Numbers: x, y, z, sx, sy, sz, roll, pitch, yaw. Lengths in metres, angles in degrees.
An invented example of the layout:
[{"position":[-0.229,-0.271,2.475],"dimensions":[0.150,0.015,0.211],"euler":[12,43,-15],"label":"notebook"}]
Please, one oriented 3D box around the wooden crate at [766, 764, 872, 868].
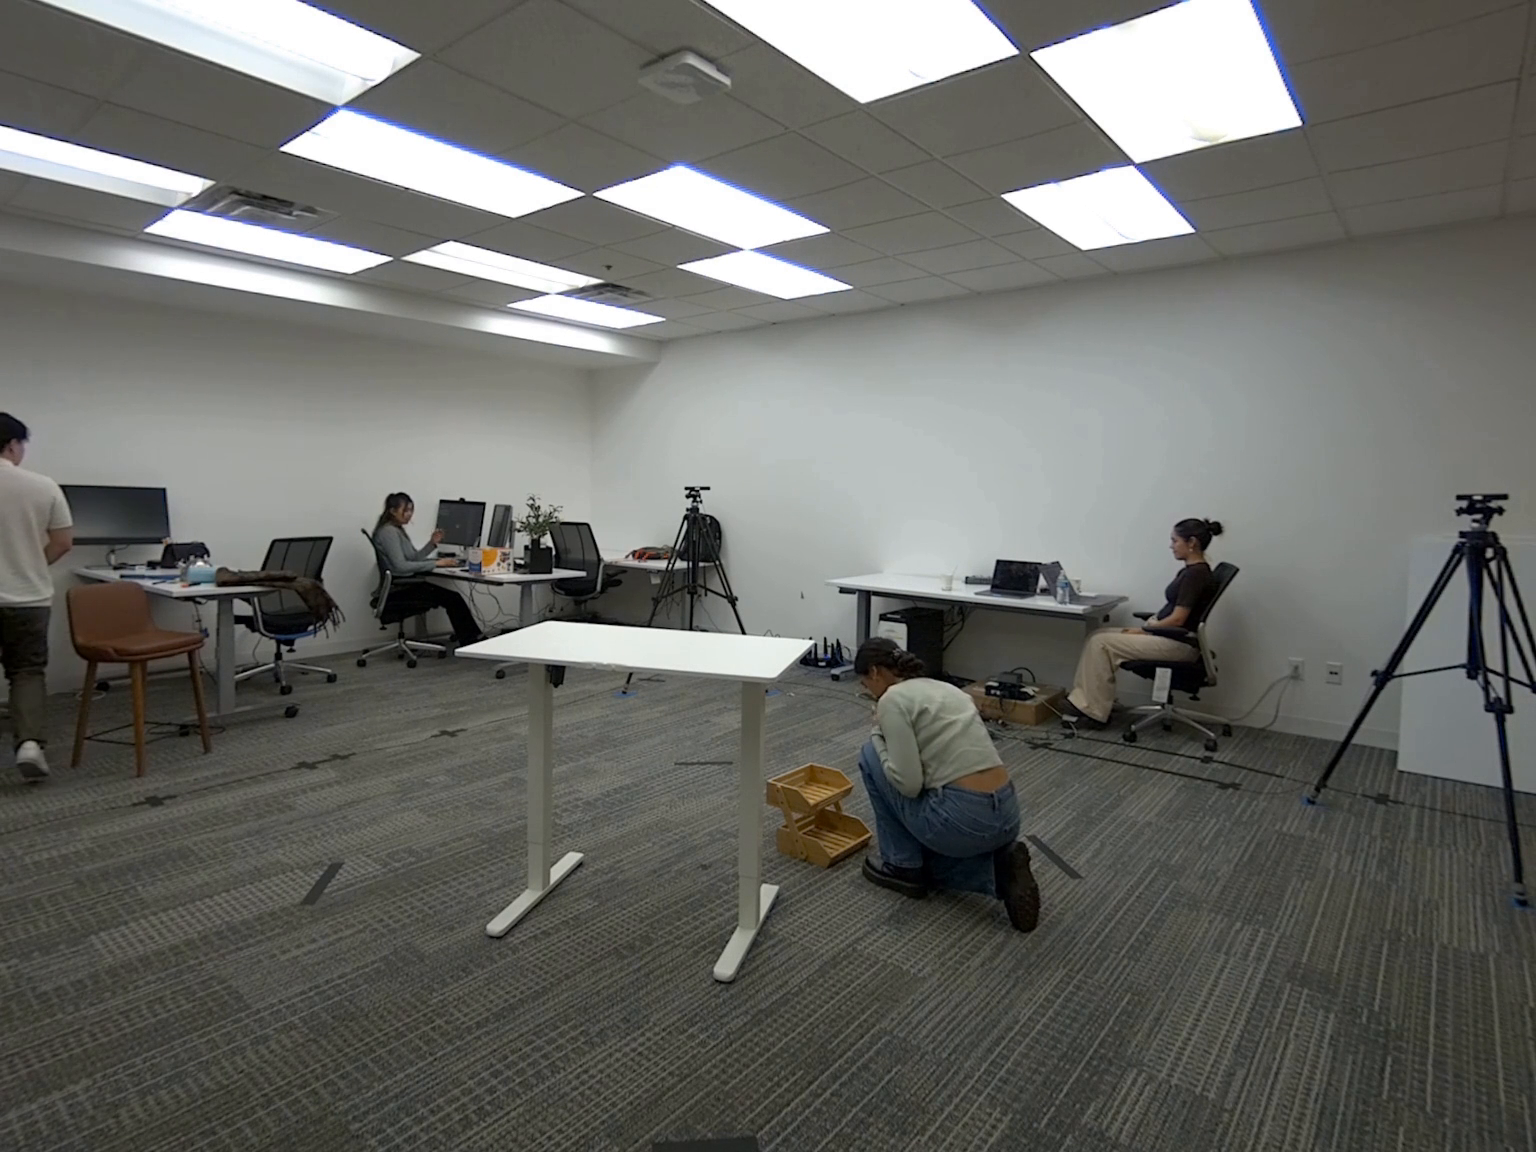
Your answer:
[{"position":[0.196,0.916,3.316],"dimensions":[0.312,0.272,0.315],"euler":[3,5,39],"label":"wooden crate"}]
